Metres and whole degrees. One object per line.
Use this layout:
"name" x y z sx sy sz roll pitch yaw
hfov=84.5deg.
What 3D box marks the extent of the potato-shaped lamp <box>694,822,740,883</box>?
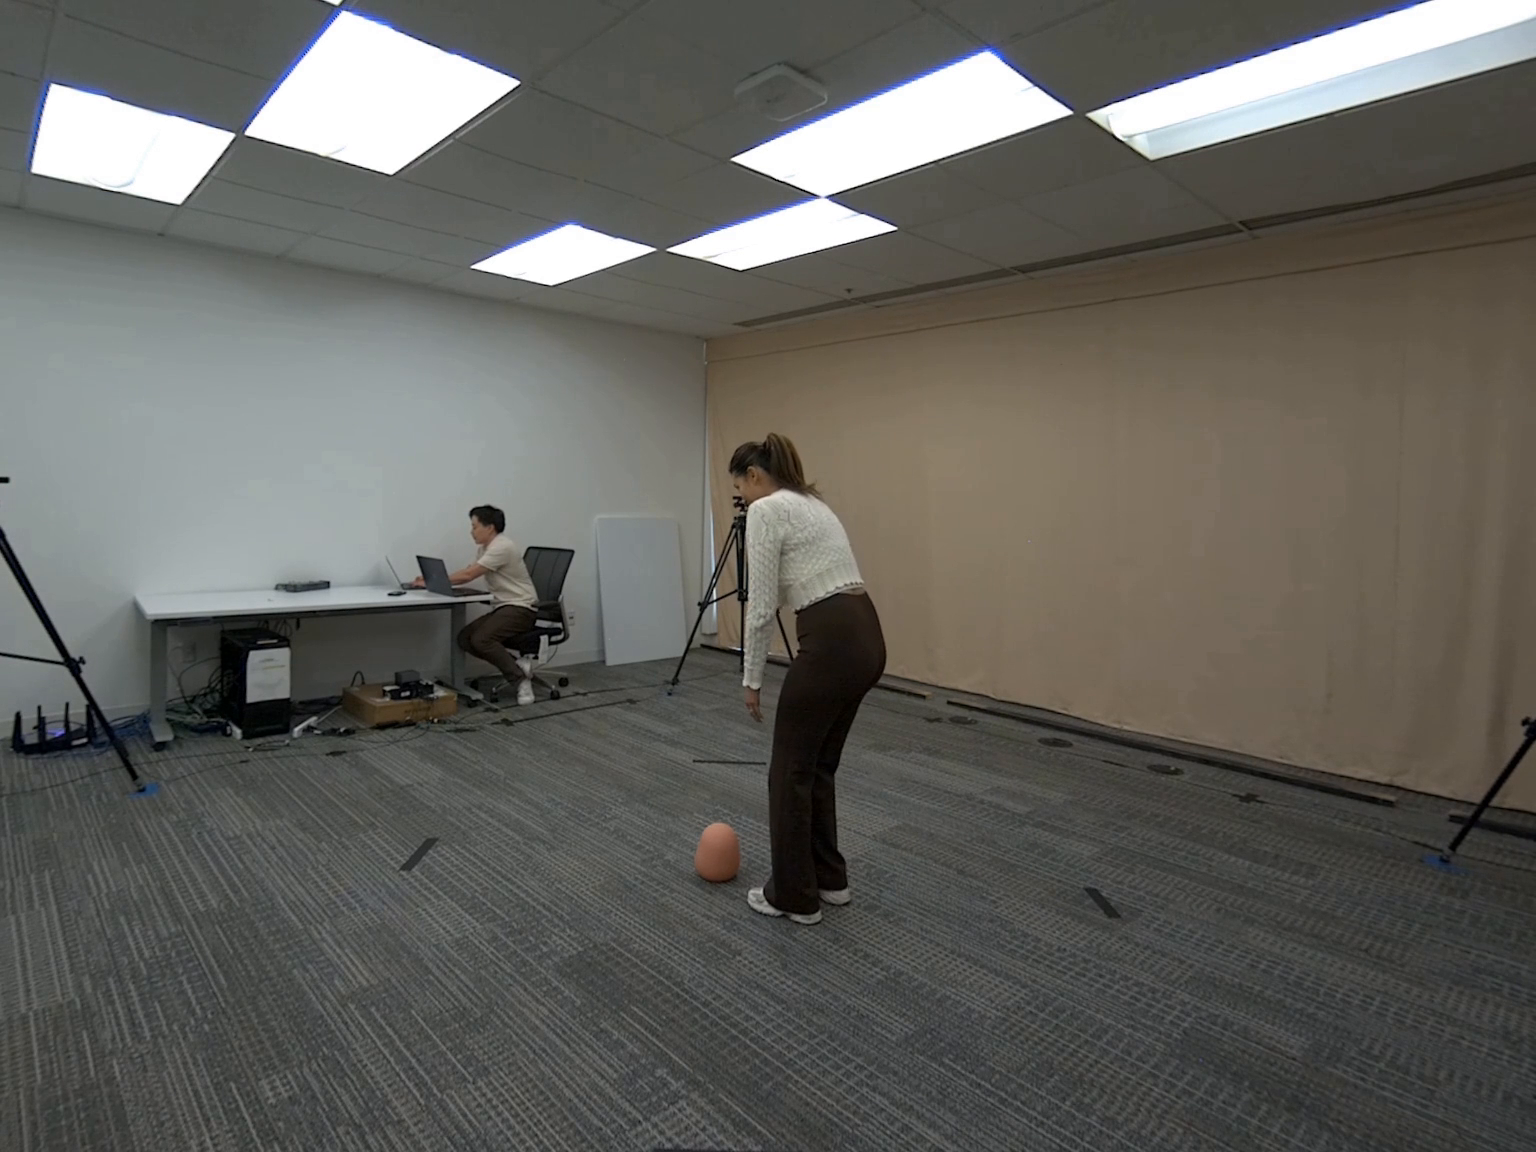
"potato-shaped lamp" -0.192 1.004 3.078 0.163 0.197 0.174 -1 6 -17
